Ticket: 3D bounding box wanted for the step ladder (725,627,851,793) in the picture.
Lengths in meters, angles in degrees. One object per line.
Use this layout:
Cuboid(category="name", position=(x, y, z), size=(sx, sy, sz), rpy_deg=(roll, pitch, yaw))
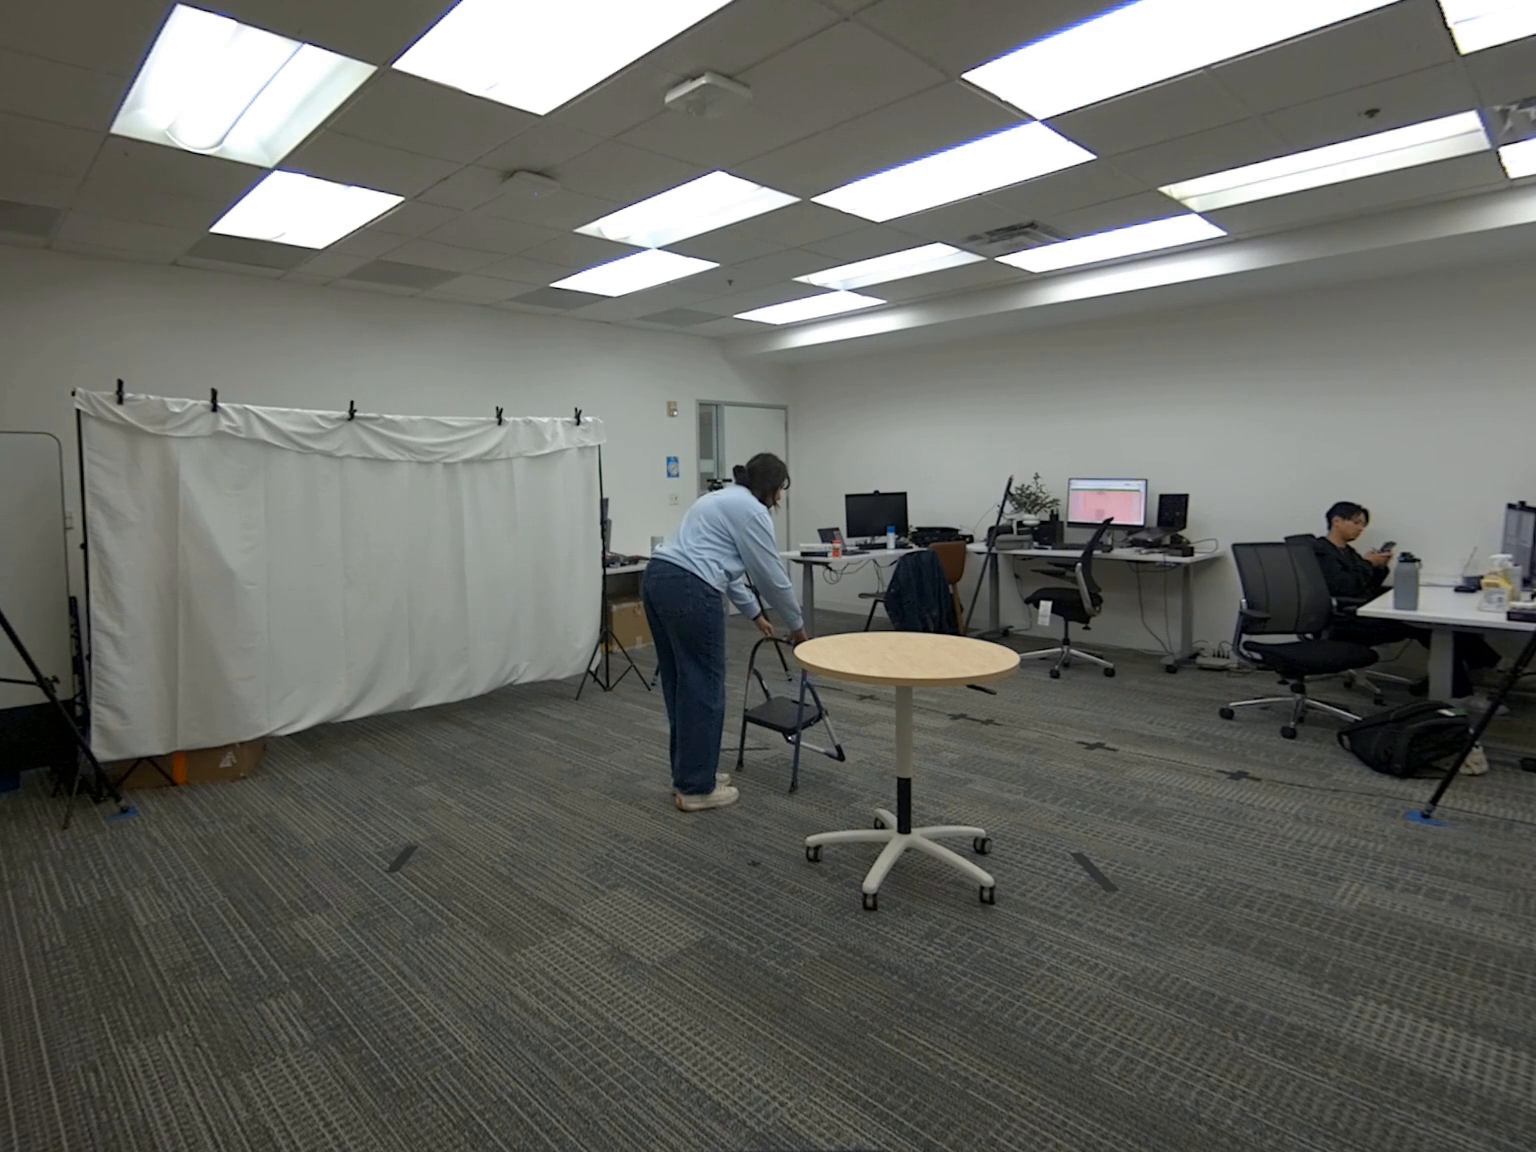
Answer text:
Cuboid(category="step ladder", position=(0.057, 0.599, 3.995), size=(0.343, 0.600, 0.443), rpy_deg=(-18, 13, -36))
